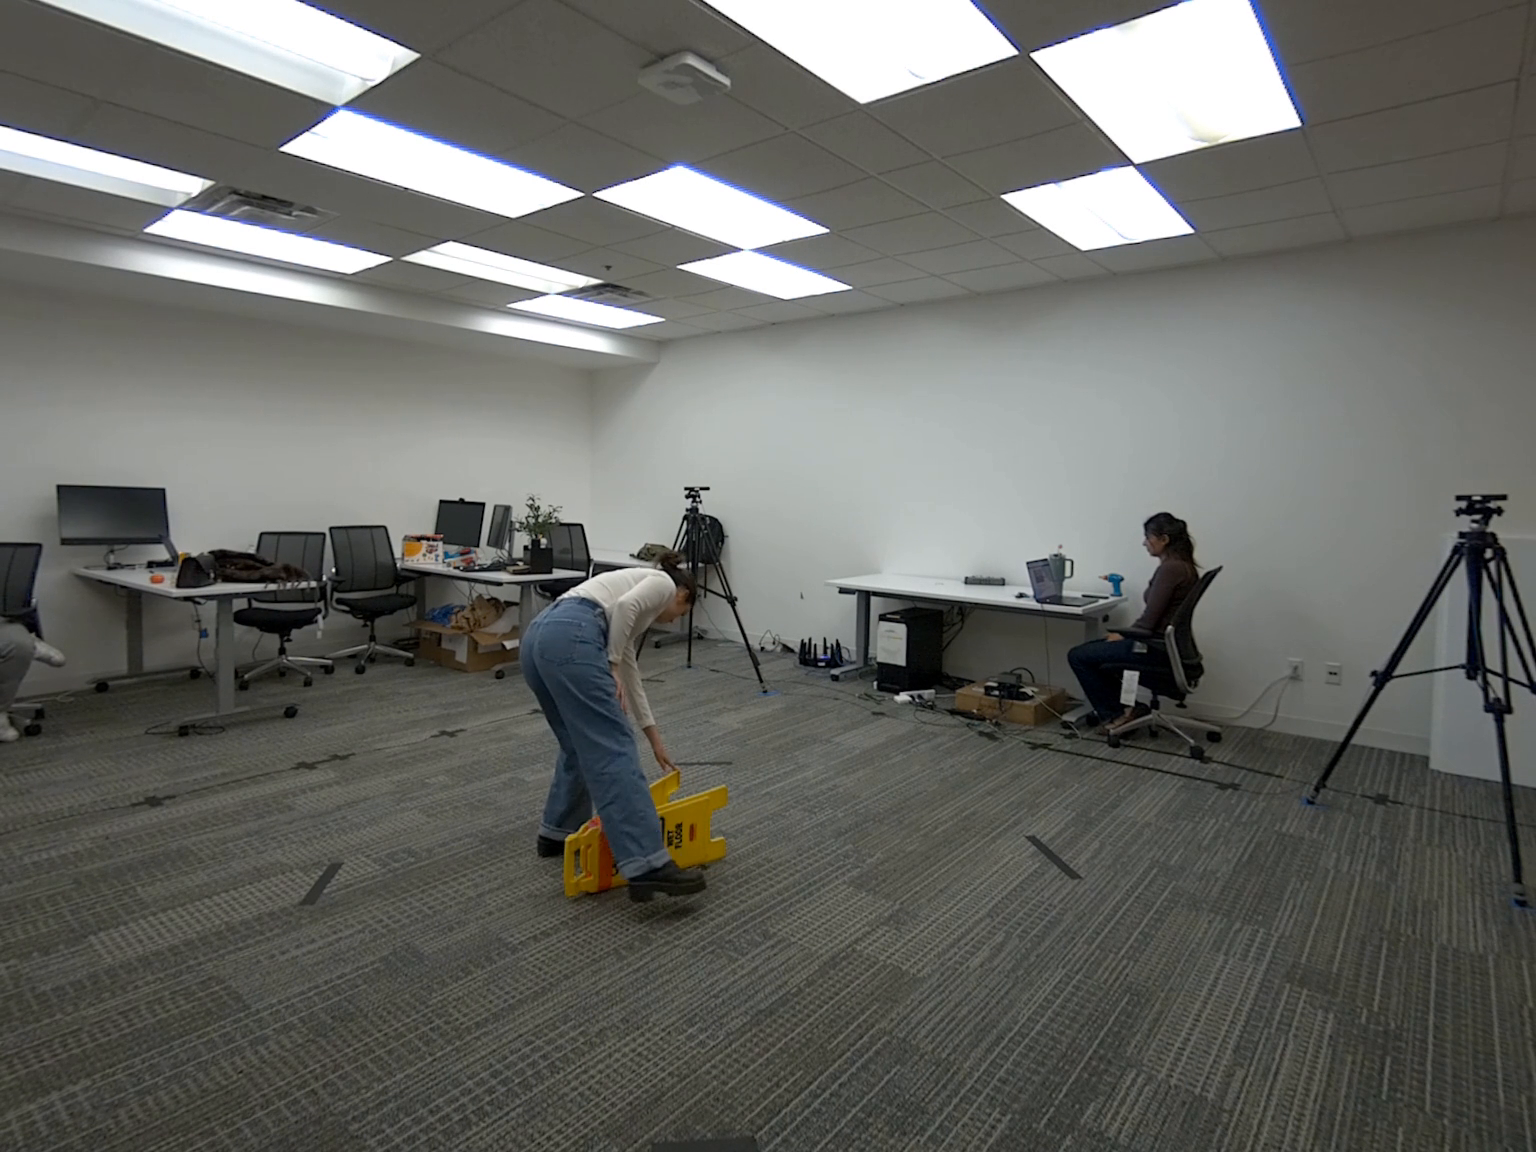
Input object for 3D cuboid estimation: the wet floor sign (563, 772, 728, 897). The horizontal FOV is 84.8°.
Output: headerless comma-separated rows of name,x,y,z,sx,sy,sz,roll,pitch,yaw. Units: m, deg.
wet floor sign,-0.470,0.938,3.052,0.300,0.281,0.628,5,9,41
